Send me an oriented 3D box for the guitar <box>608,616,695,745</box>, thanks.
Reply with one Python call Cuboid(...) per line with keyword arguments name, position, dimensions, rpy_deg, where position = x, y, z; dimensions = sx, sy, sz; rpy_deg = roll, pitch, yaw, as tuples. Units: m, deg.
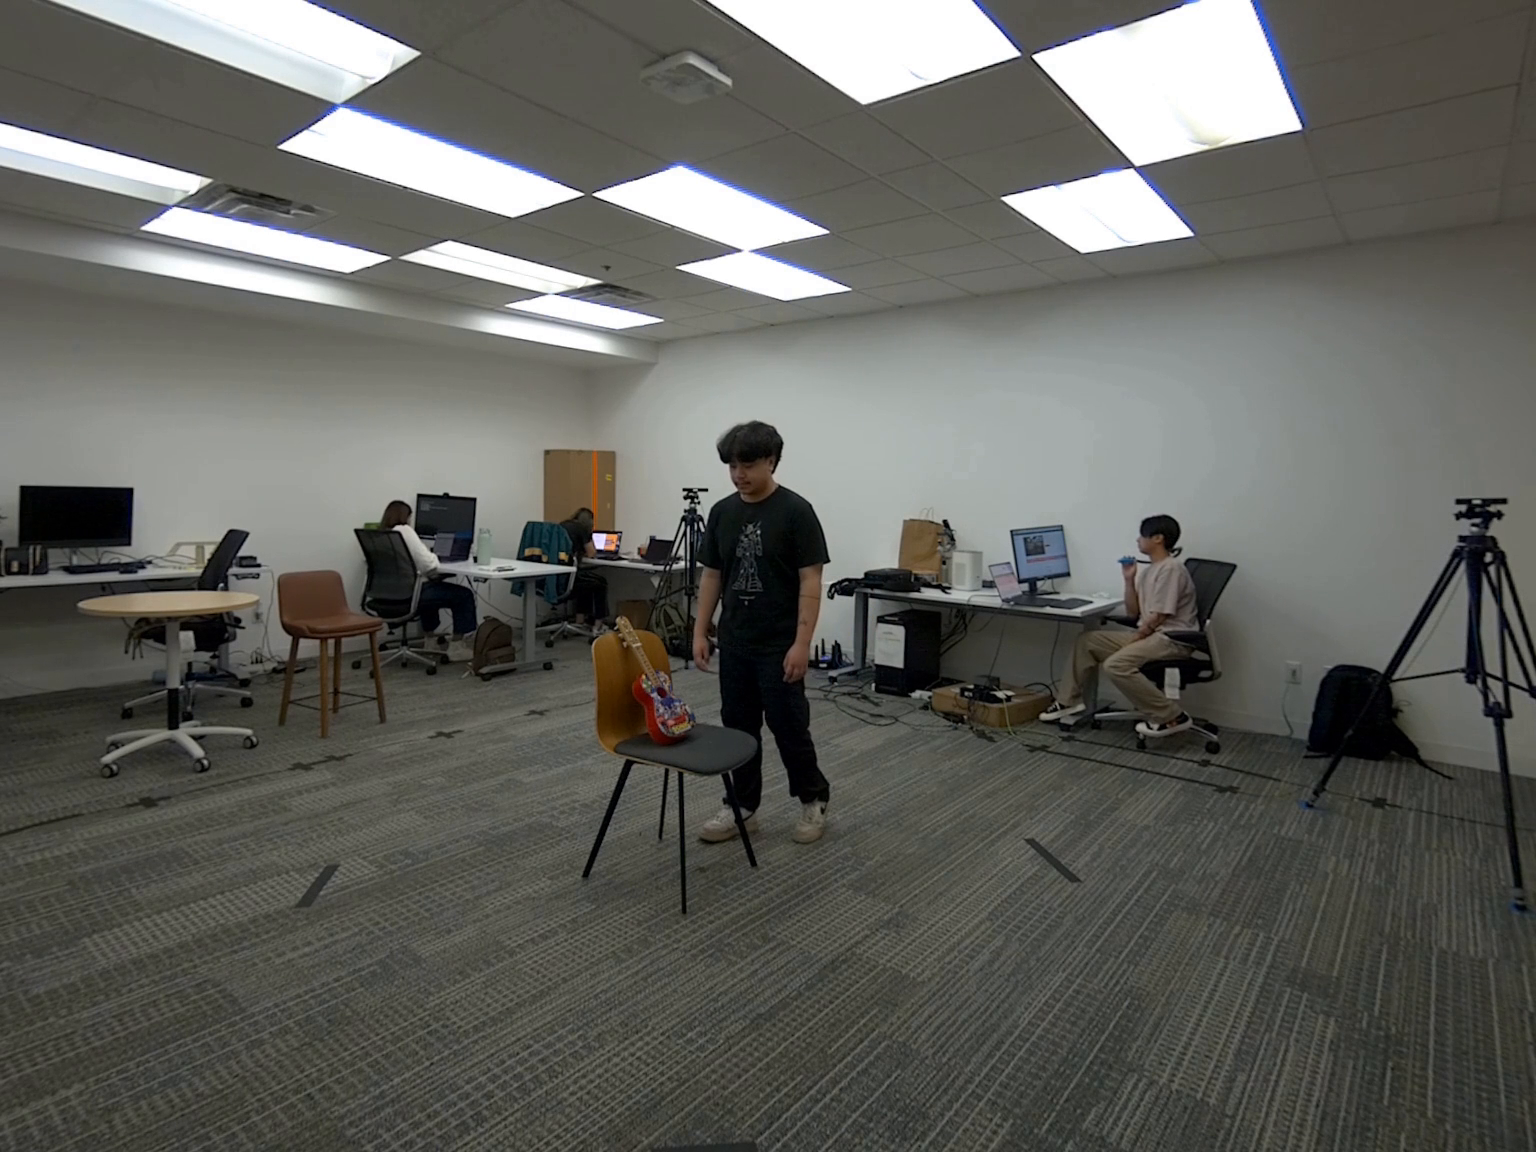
Cuboid(name="guitar", position=(-0.433, 0.373, 3.155), dimensions=(0.071, 0.511, 0.187), rpy_deg=(-41, -23, 32))
